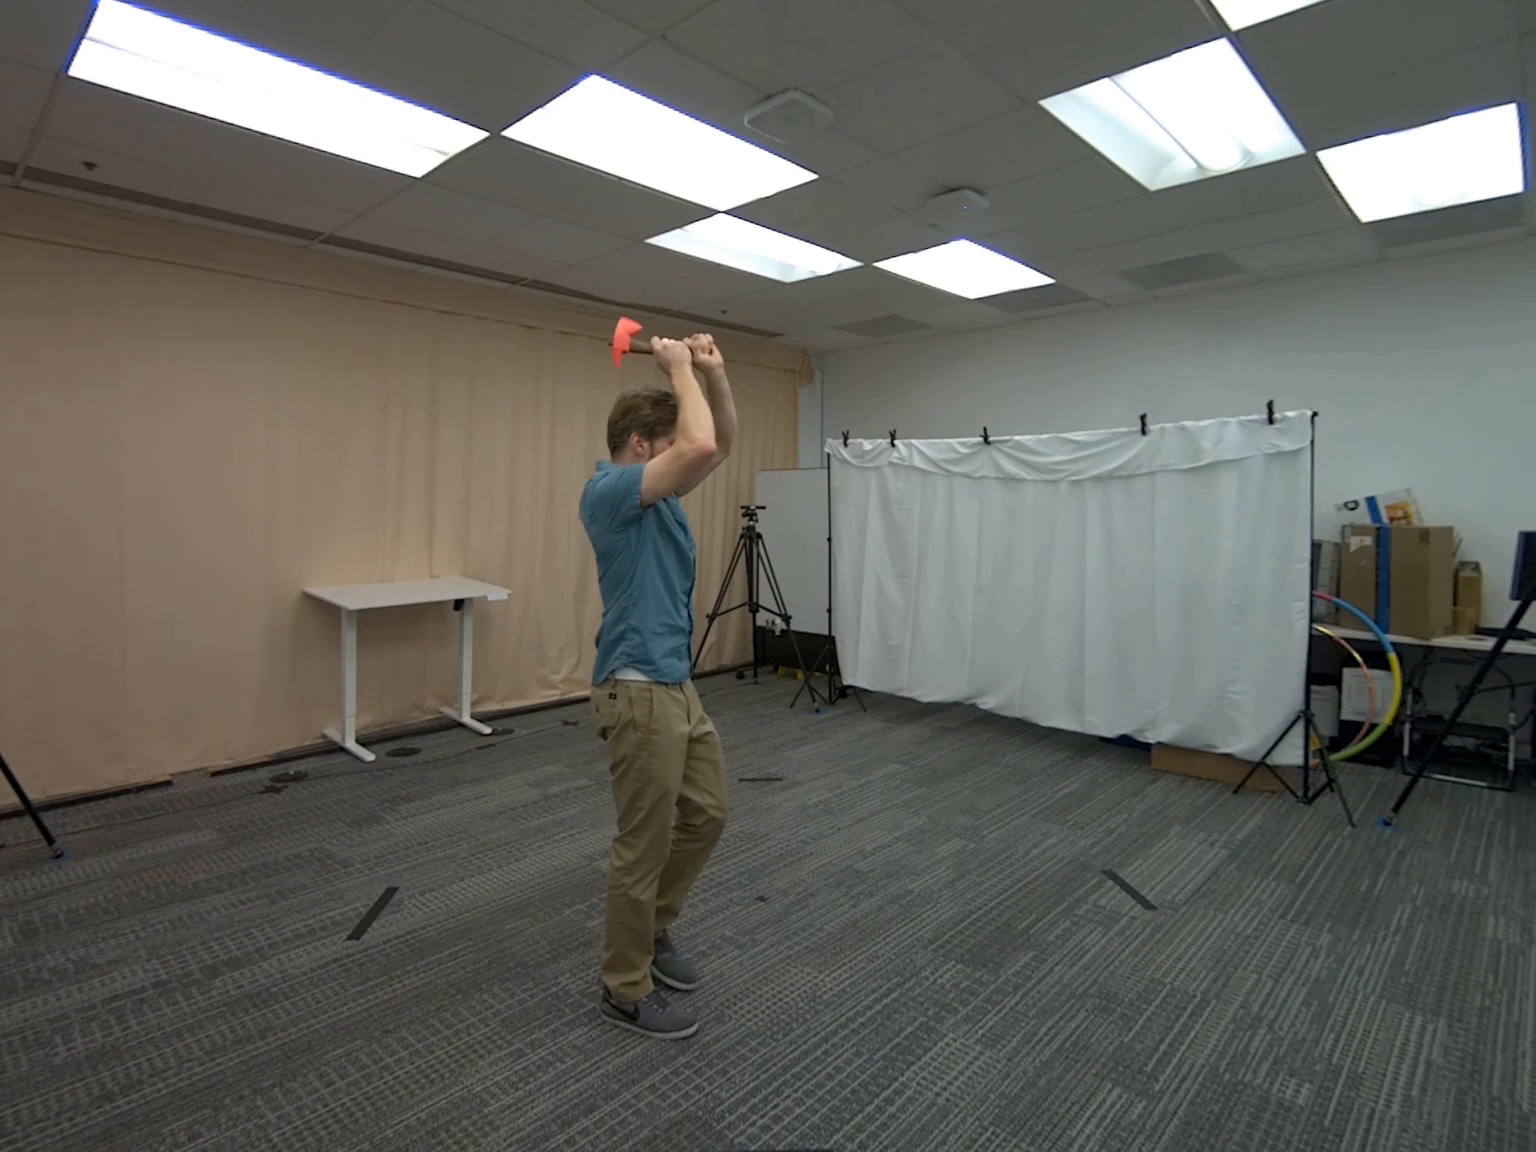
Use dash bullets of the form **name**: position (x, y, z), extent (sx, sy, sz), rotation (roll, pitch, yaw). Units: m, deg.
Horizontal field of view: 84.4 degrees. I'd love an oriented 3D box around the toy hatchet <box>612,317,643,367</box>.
- **toy hatchet**: position (-0.274, -0.620, 2.178), extent (0.268, 0.131, 0.030), rotation (-13, -1, -7)
